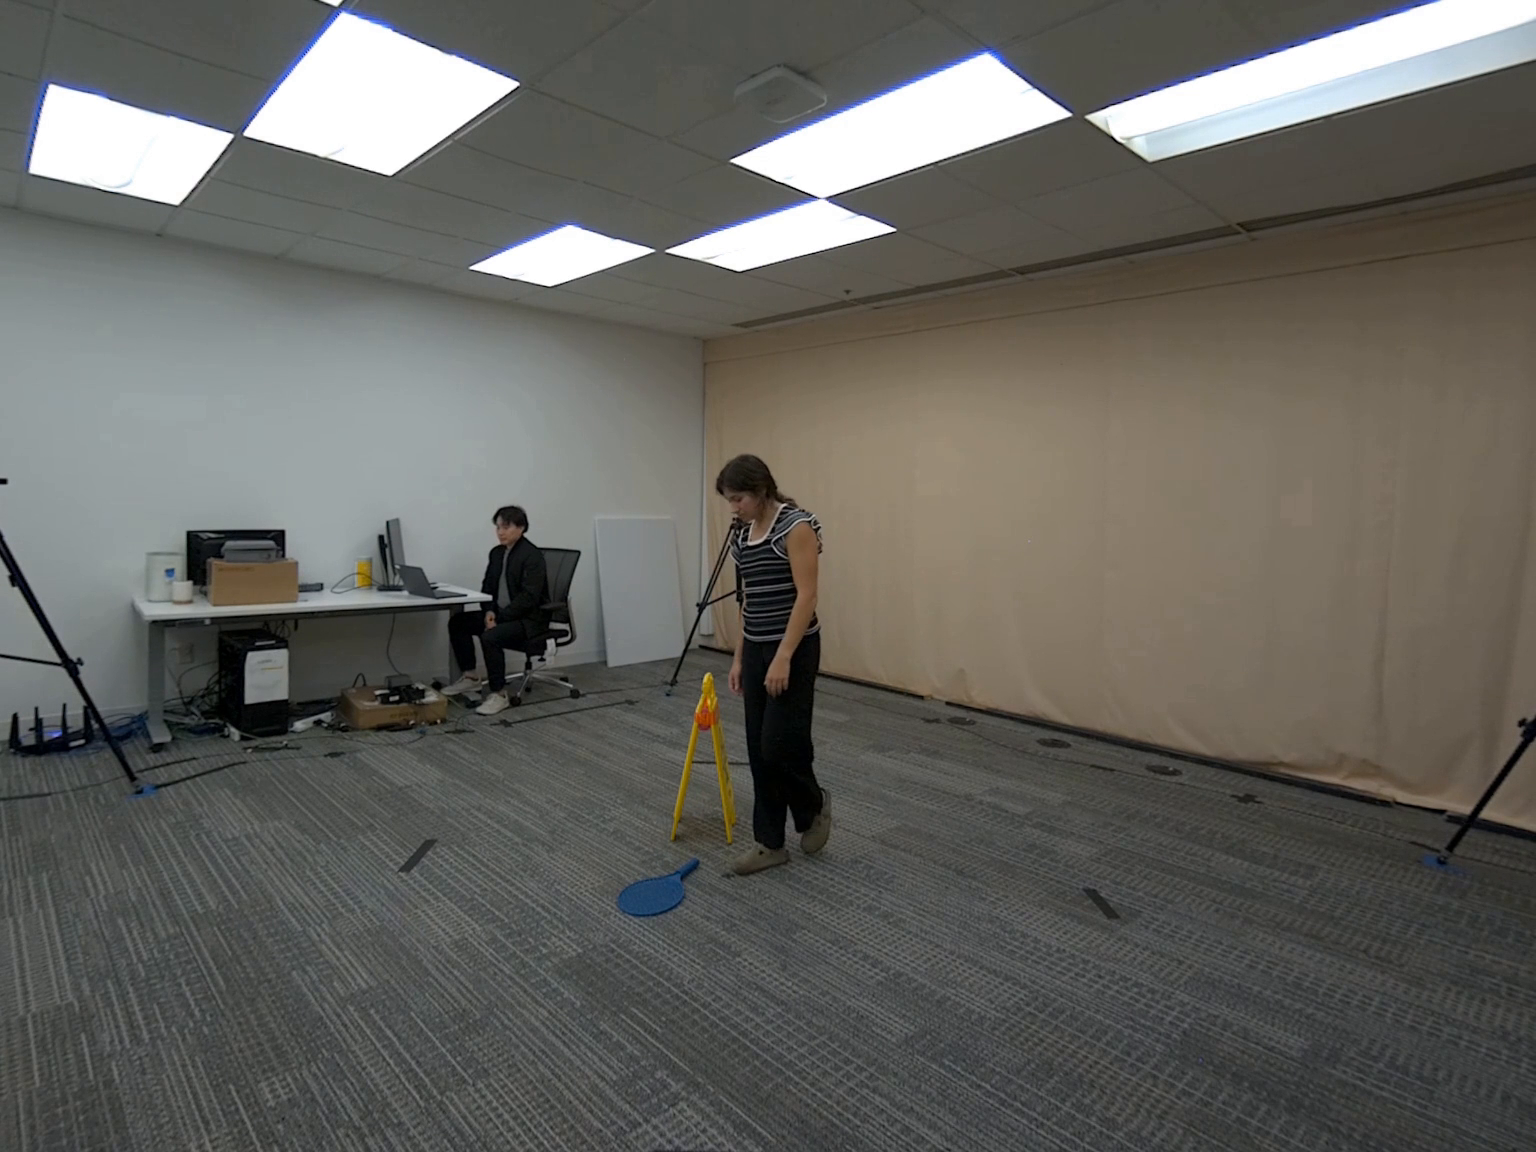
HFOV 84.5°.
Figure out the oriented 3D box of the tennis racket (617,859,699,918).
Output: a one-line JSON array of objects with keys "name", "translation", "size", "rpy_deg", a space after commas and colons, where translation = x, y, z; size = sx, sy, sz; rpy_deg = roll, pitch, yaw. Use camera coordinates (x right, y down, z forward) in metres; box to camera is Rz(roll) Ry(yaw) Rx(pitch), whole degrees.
[{"name": "tennis racket", "translation": [-0.376, 1.100, 2.985], "size": [0.218, 0.031, 0.426], "rpy_deg": [4, 7, 25]}]
